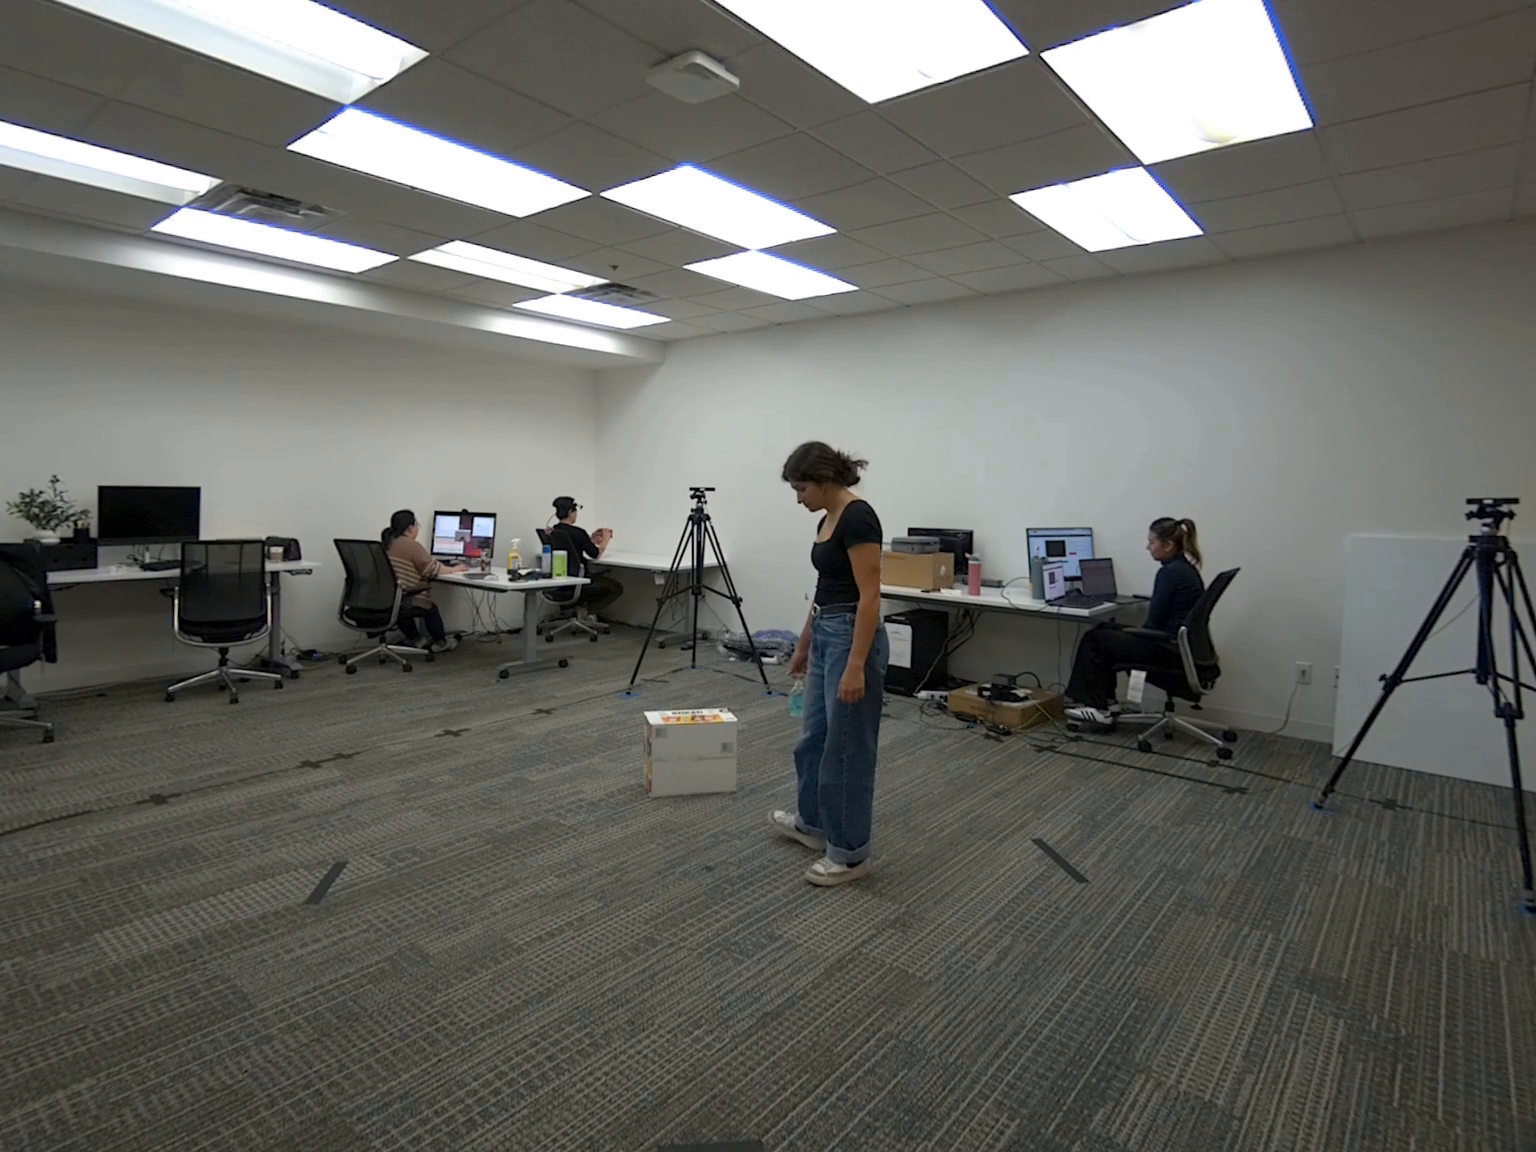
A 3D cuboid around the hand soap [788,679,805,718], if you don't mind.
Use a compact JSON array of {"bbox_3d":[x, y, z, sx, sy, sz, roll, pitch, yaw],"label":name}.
[{"bbox_3d":[0.113,0.463,3.335,0.083,0.167,0.044,1,7,-21],"label":"hand soap"}]
